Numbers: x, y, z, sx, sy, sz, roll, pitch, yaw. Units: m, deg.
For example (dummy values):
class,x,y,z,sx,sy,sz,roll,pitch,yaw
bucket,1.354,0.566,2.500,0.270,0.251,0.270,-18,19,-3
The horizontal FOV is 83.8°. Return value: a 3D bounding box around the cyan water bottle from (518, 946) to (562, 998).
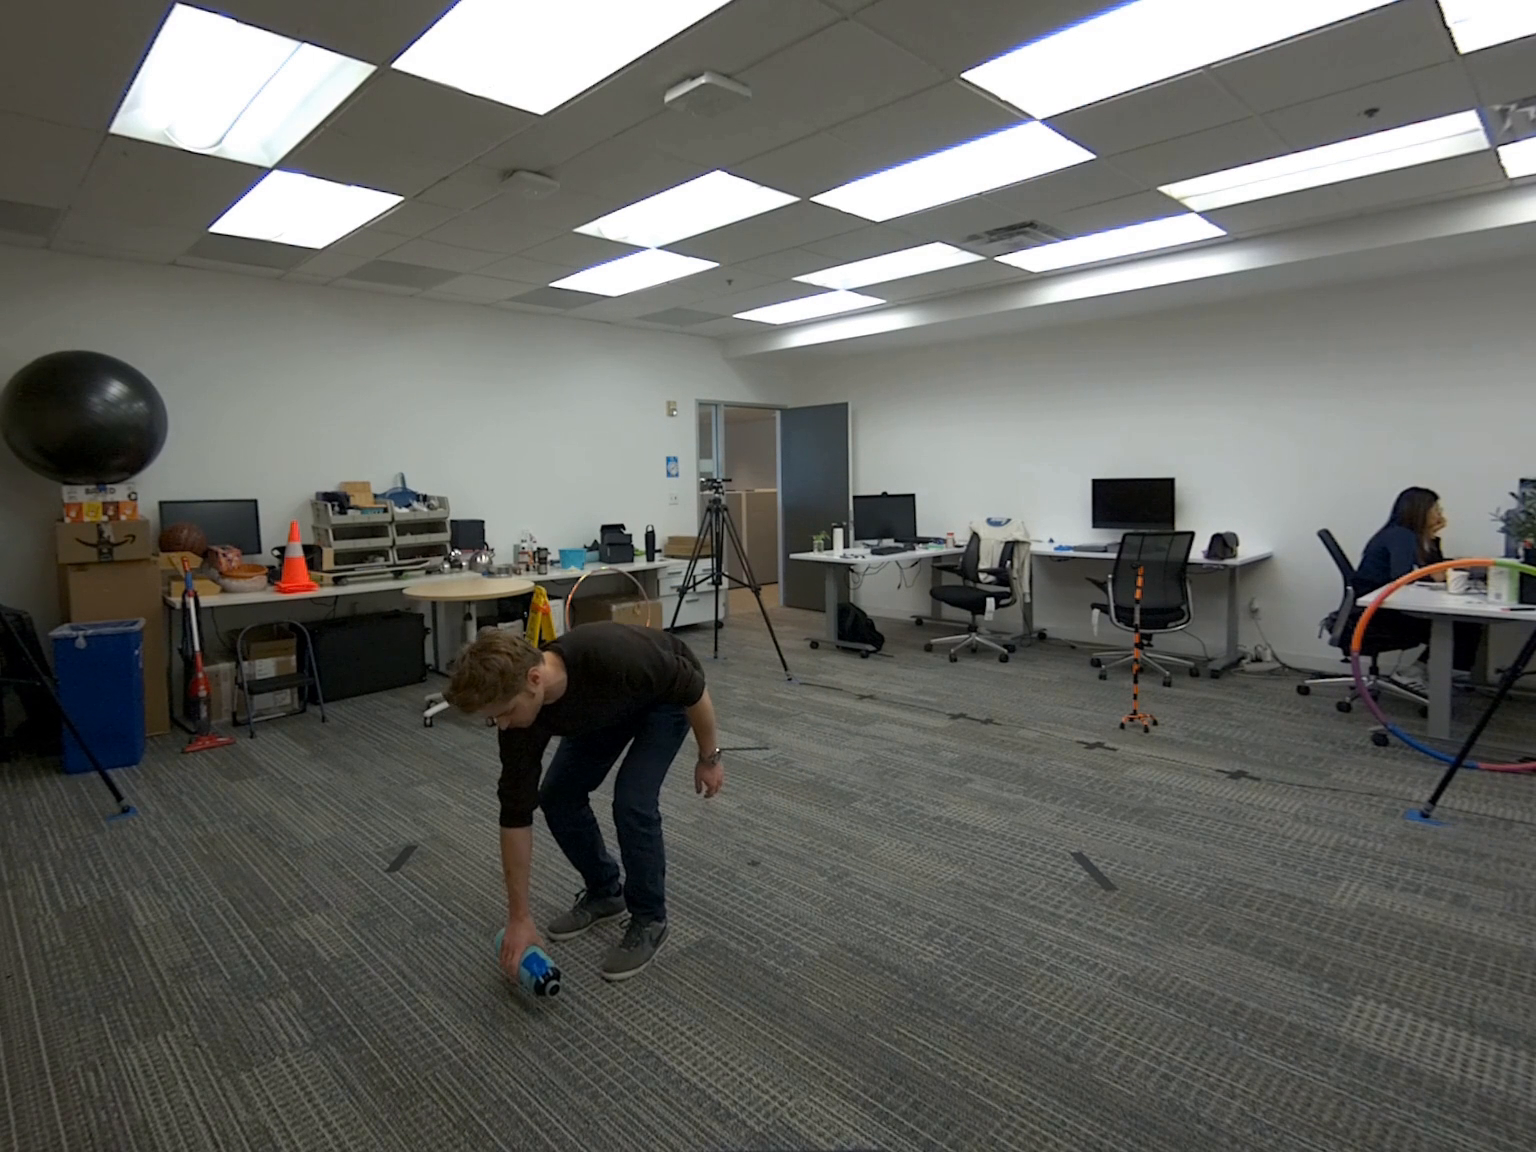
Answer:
class,x,y,z,sx,sy,sz,roll,pitch,yaw
cyan water bottle,-0.653,1.057,2.341,0.090,0.092,0.292,-5,8,-39
